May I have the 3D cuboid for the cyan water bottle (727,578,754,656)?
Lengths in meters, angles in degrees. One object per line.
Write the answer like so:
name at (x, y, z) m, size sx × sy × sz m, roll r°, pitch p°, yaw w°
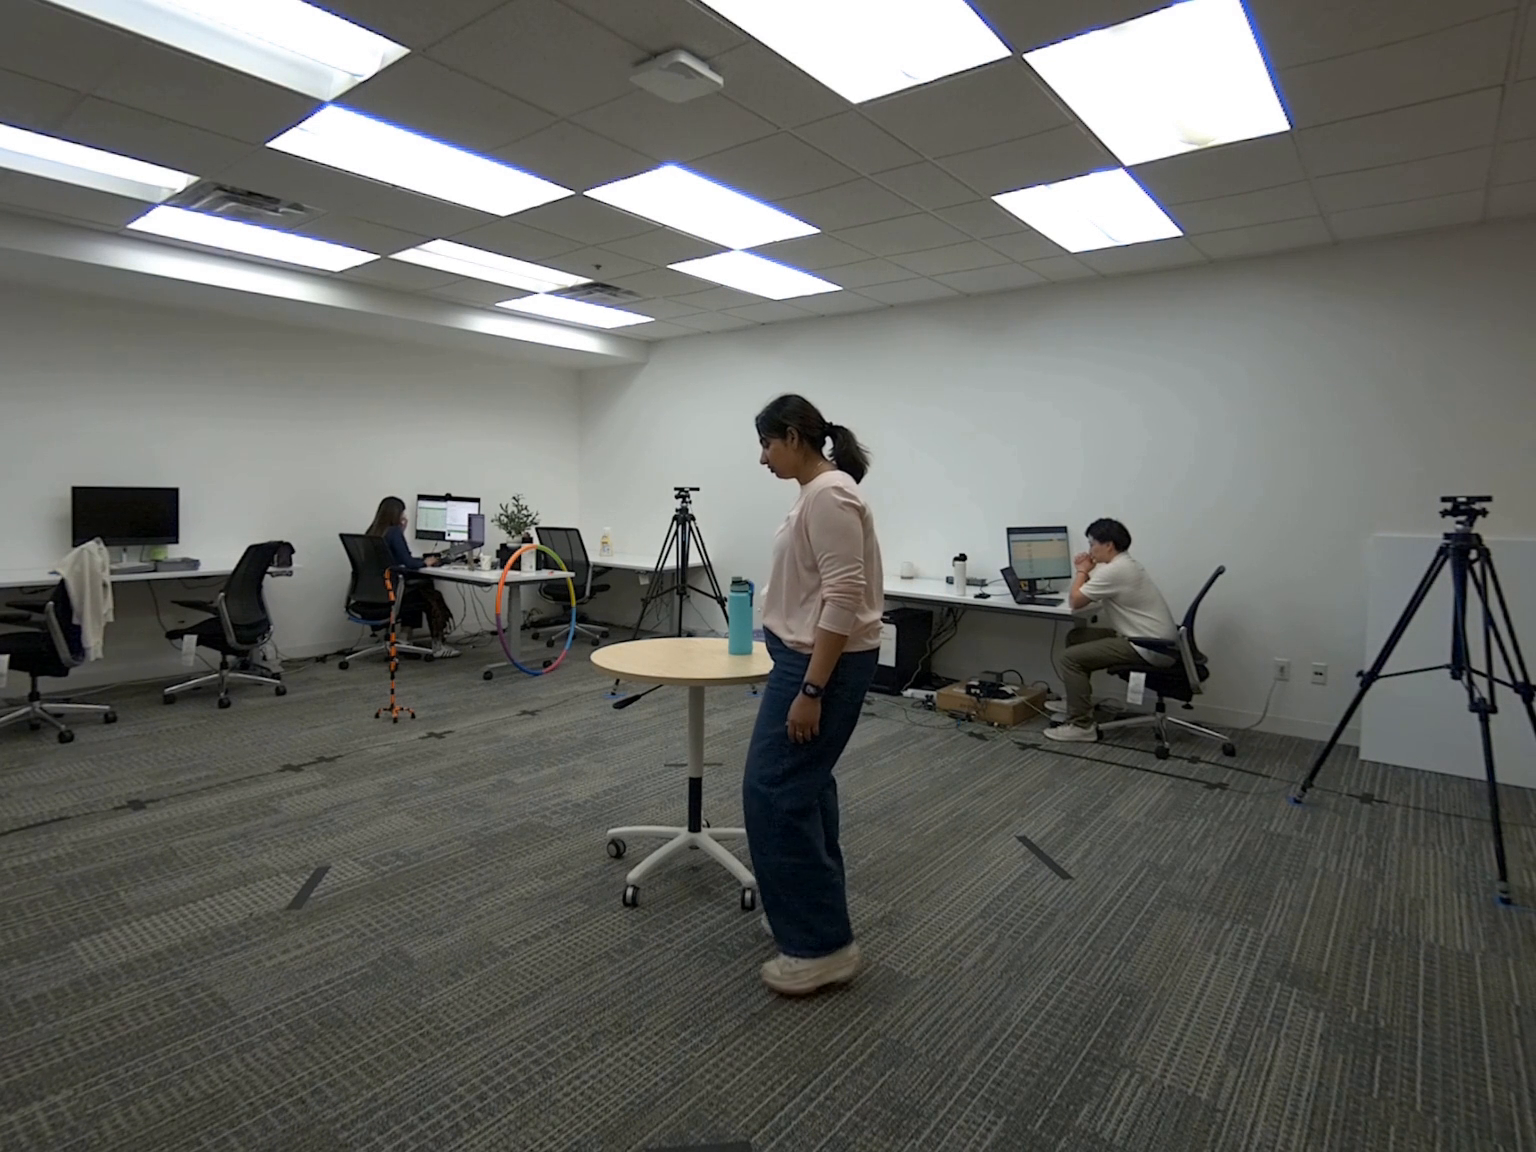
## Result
cyan water bottle at (-0.103, 0.144, 3.132) m, size 0.092 × 0.283 × 0.092 m, roll 3°, pitch 0°, yaw -2°
